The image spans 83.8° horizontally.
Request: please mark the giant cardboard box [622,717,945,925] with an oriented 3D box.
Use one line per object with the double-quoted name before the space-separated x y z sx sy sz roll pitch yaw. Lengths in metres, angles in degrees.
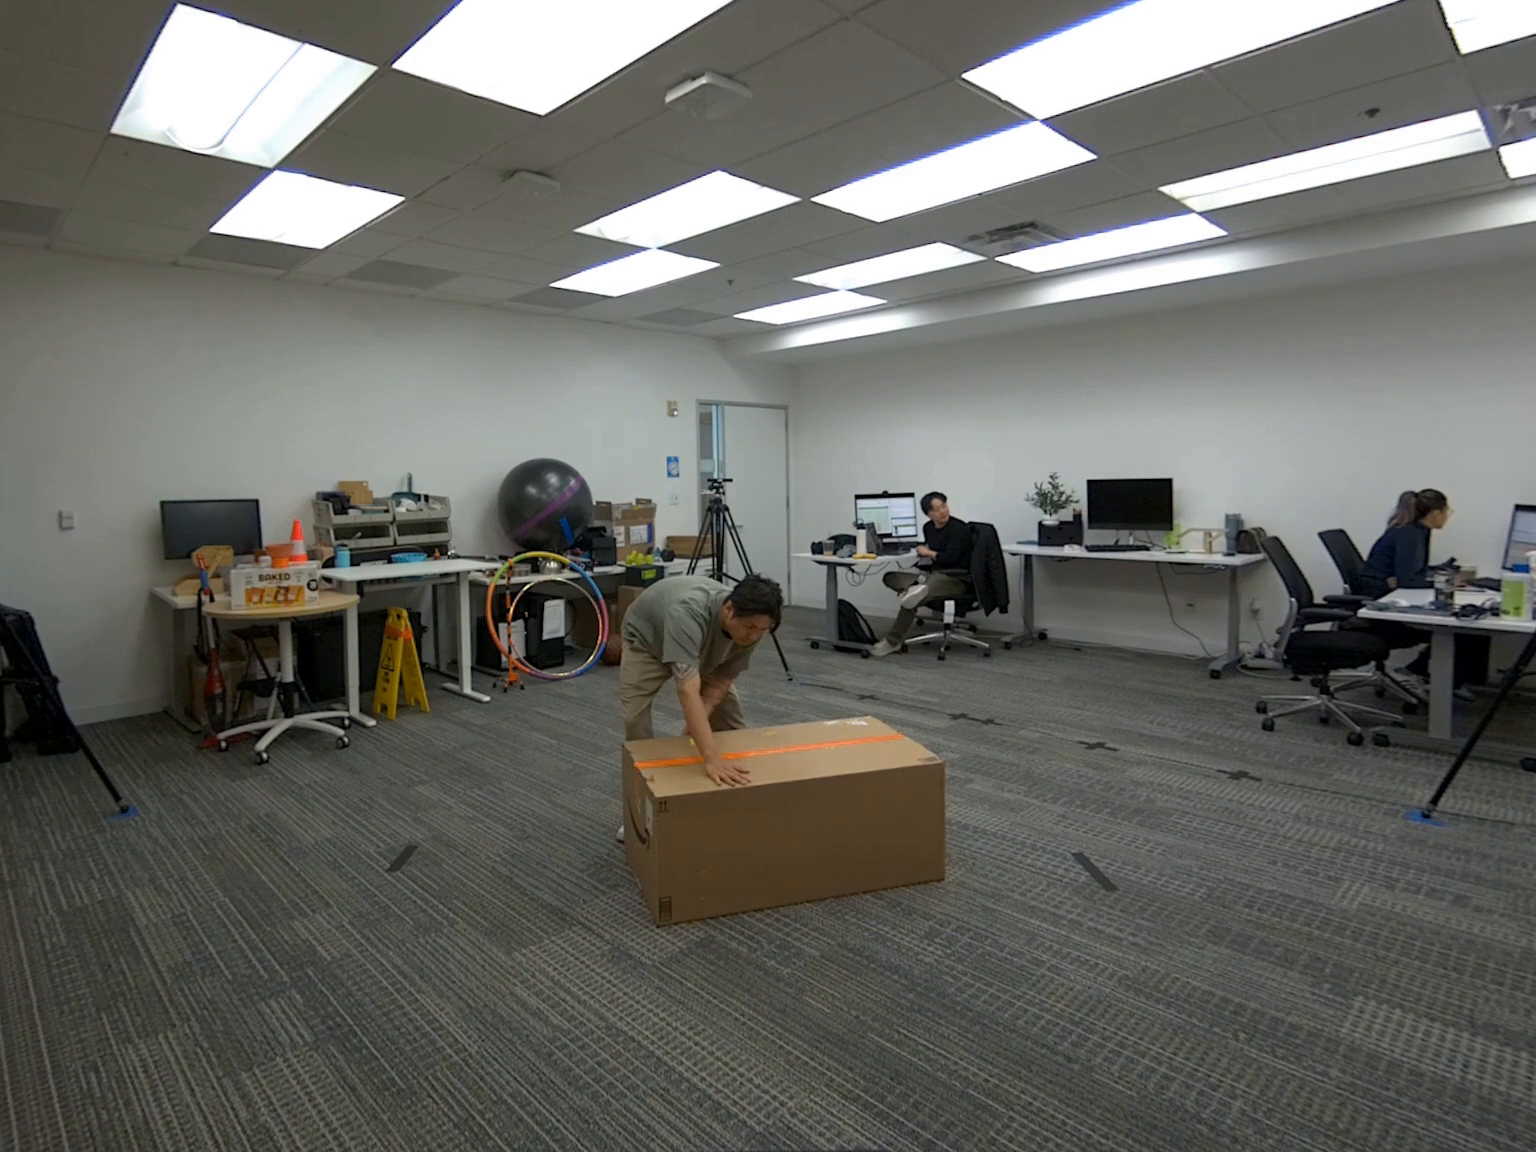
"giant cardboard box" 0.036 0.828 3.068 1.010 0.424 0.589 -3 7 -17
